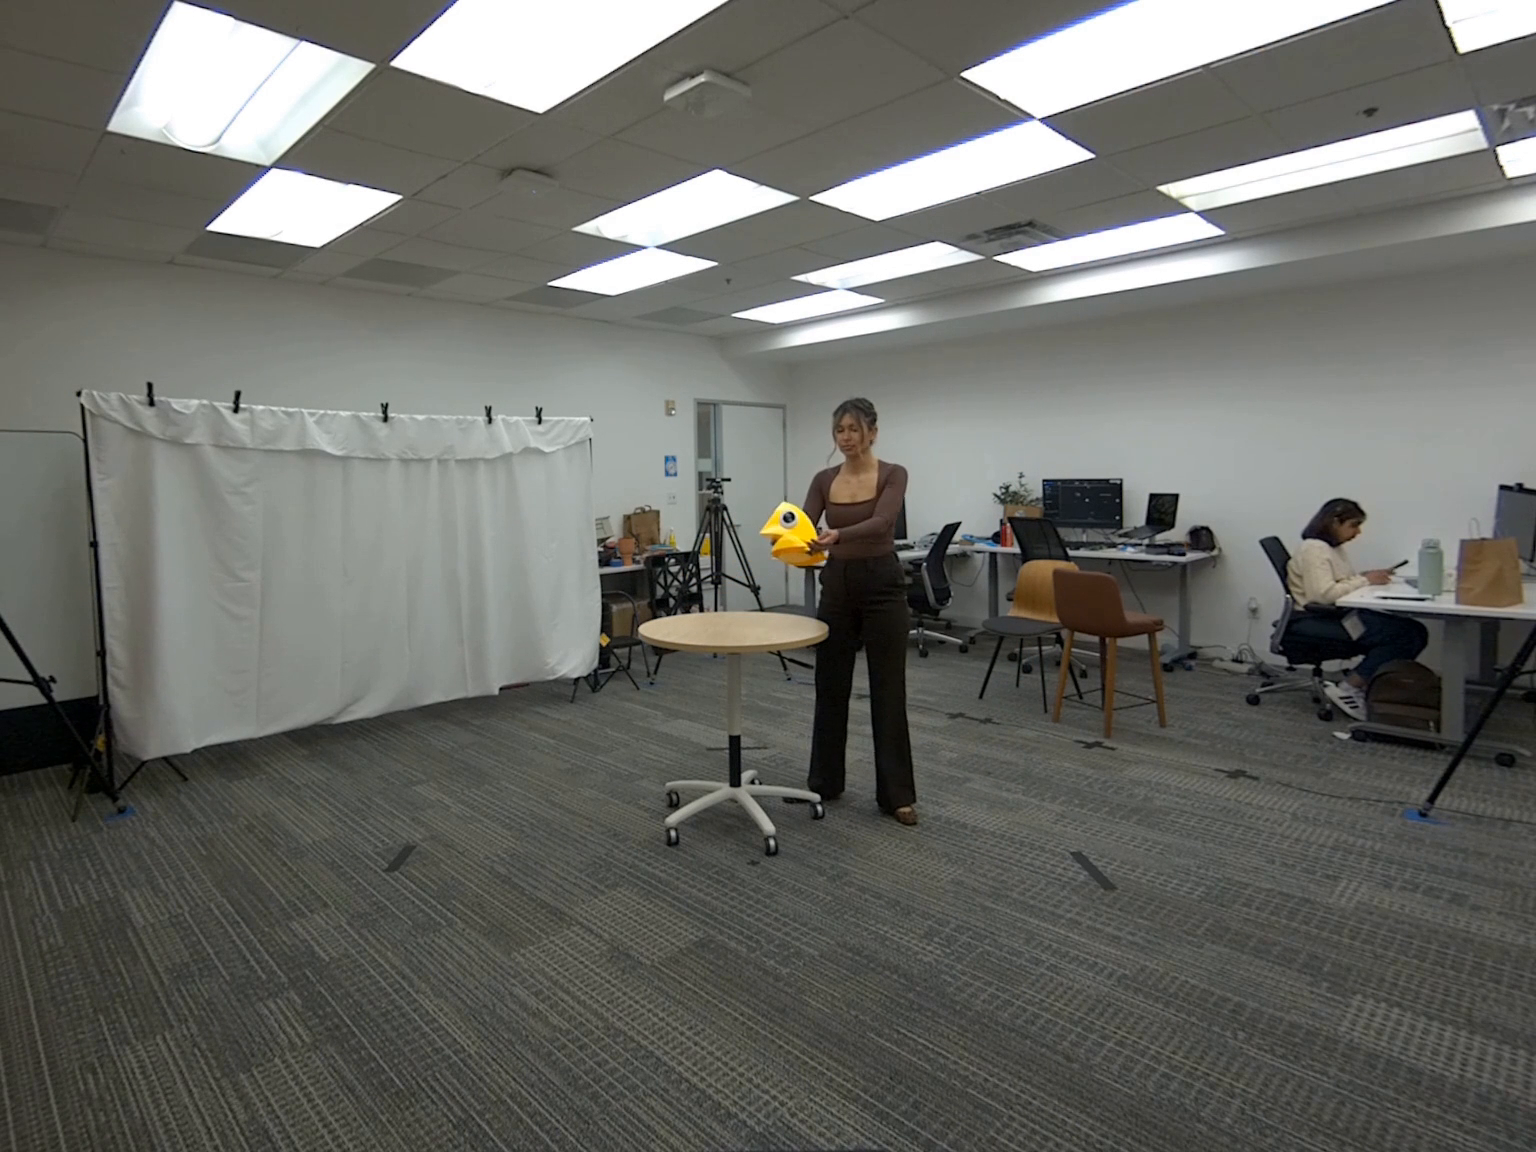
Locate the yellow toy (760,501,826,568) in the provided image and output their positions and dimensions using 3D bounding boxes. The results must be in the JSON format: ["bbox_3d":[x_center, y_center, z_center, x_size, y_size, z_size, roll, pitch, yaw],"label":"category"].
[{"bbox_3d":[0.106,-0.179,3.124,0.197,0.235,0.197,-14,-24,36],"label":"yellow toy"}]
